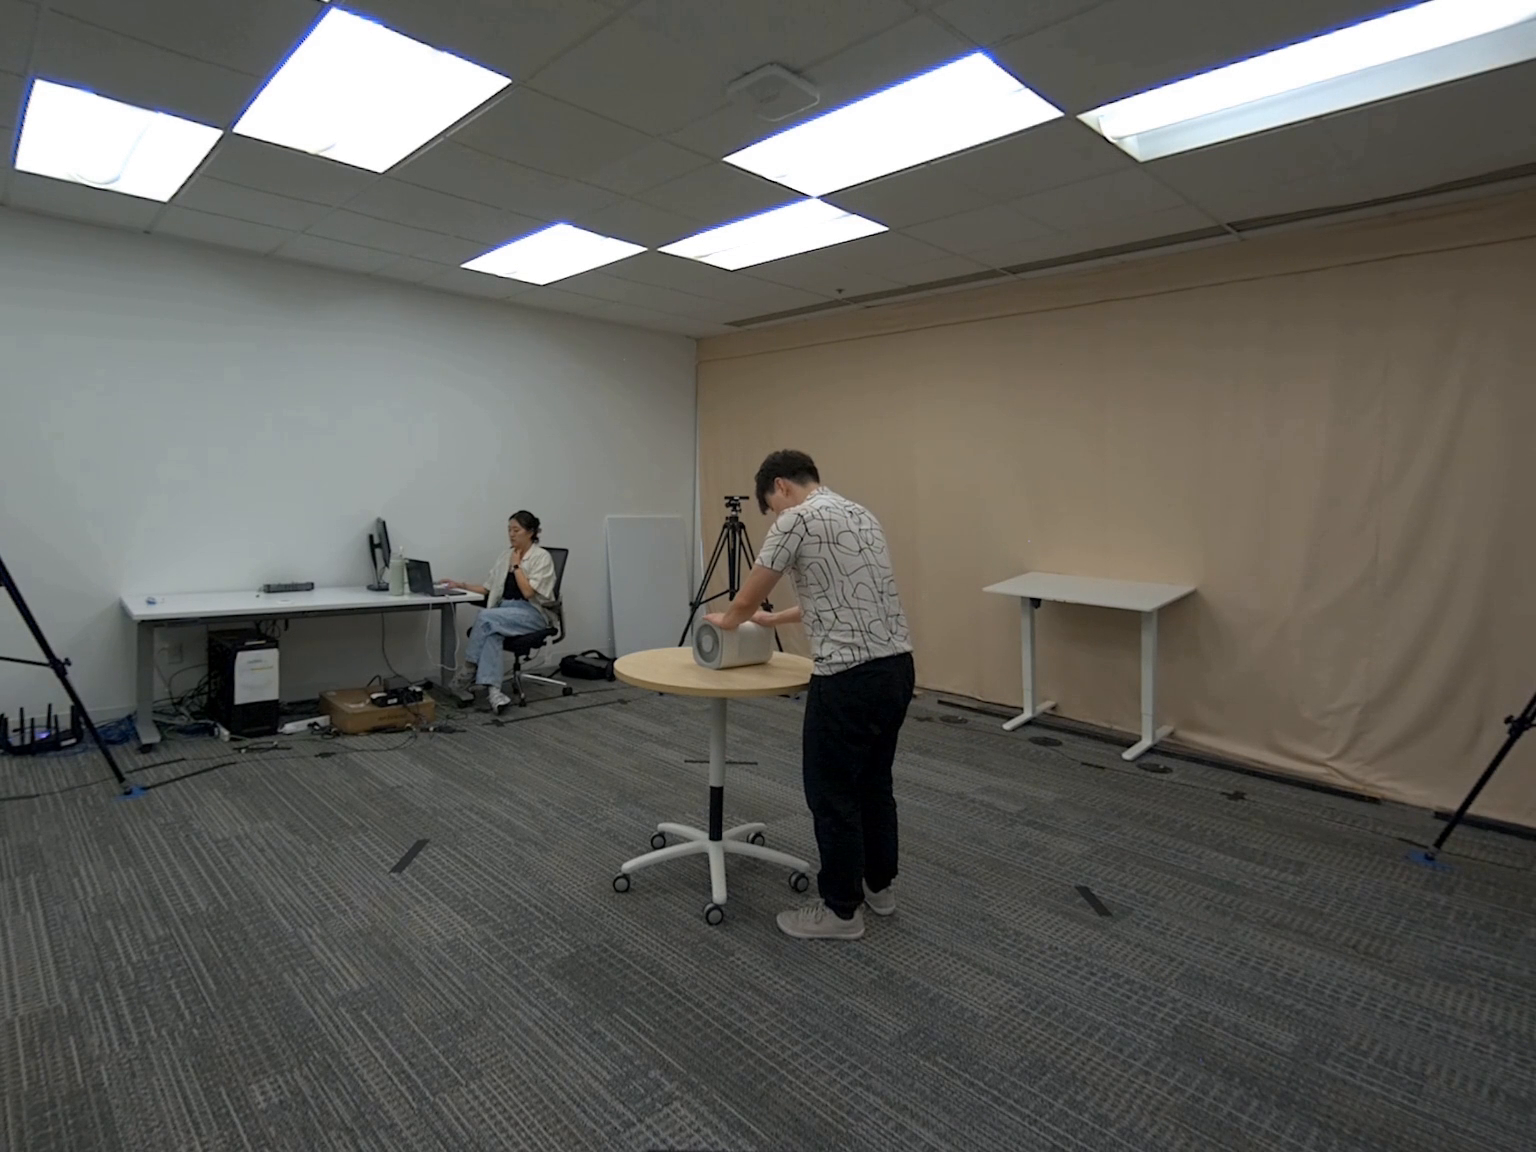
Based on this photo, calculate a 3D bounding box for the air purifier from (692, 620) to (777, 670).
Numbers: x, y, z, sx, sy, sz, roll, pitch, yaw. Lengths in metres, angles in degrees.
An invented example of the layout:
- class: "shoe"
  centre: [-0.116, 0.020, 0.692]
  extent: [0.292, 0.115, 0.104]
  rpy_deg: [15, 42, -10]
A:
- class: "air purifier"
  centre: [-0.122, 0.236, 3.076]
  extent: [0.259, 0.171, 0.176]
  rpy_deg: [-2, 8, -40]
